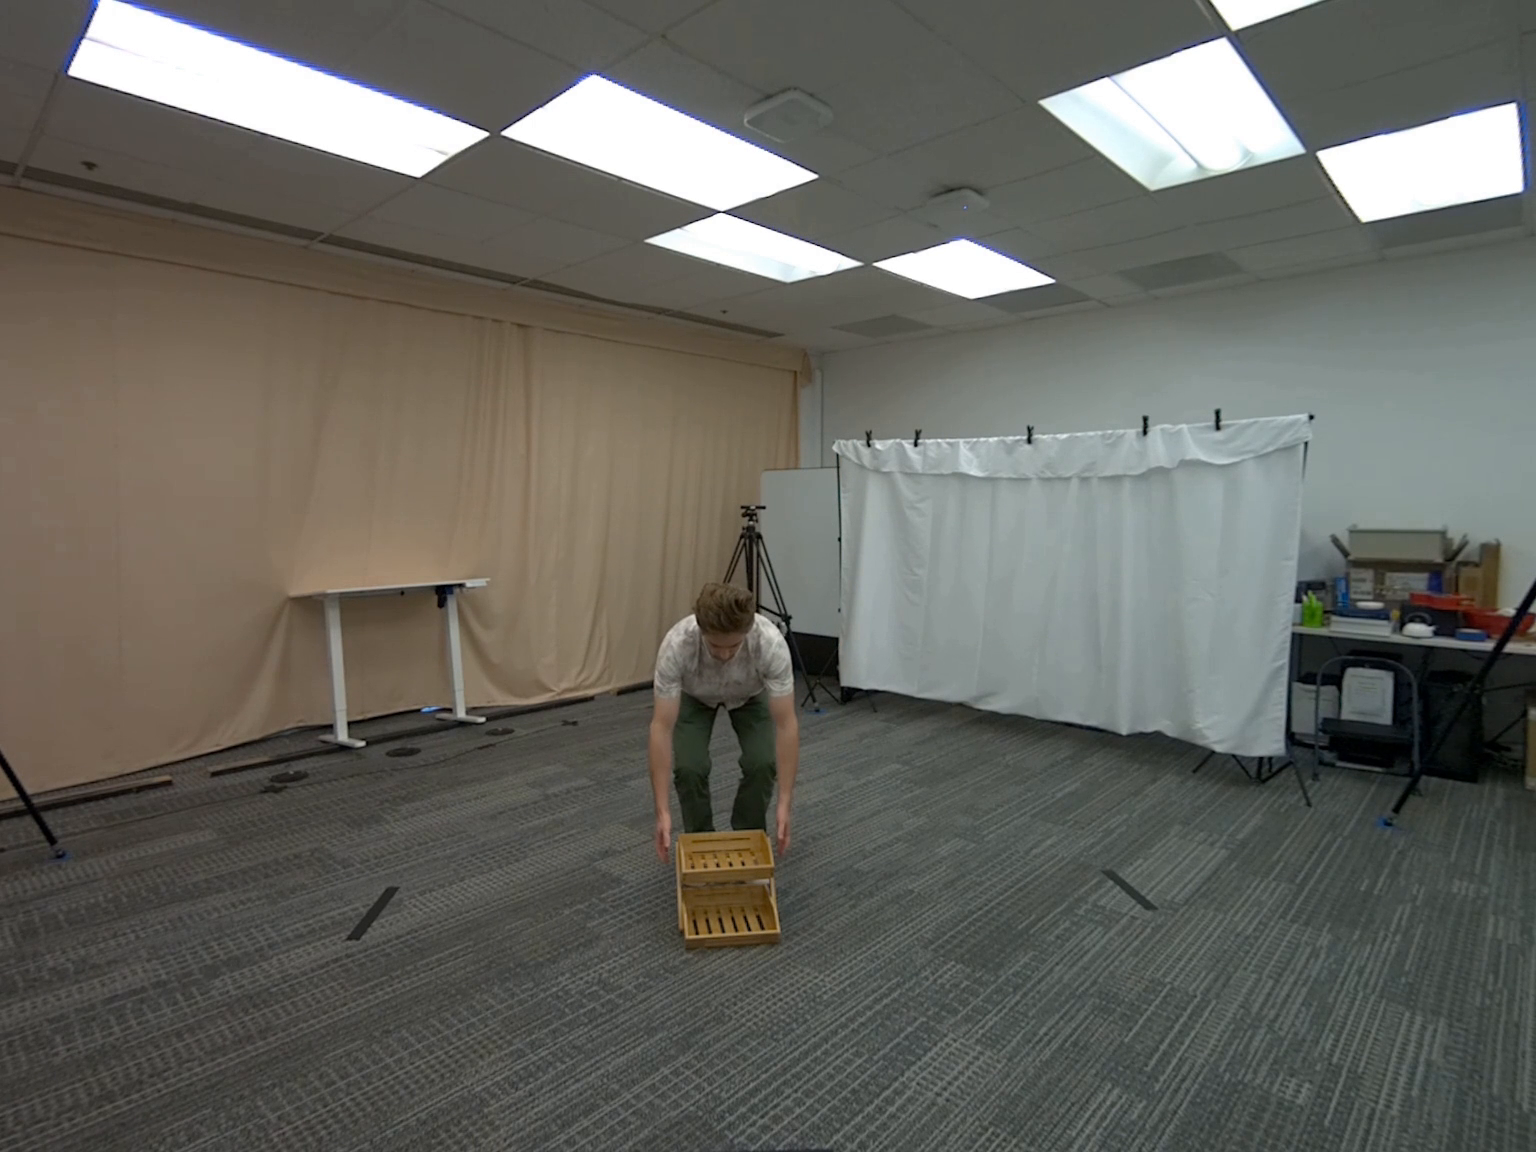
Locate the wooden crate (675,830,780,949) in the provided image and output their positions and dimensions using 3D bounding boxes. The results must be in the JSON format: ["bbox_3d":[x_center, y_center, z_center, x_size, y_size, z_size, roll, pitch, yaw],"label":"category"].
[{"bbox_3d":[-0.137,1.029,2.773,0.322,0.273,0.305,-1,4,-9],"label":"wooden crate"}]
